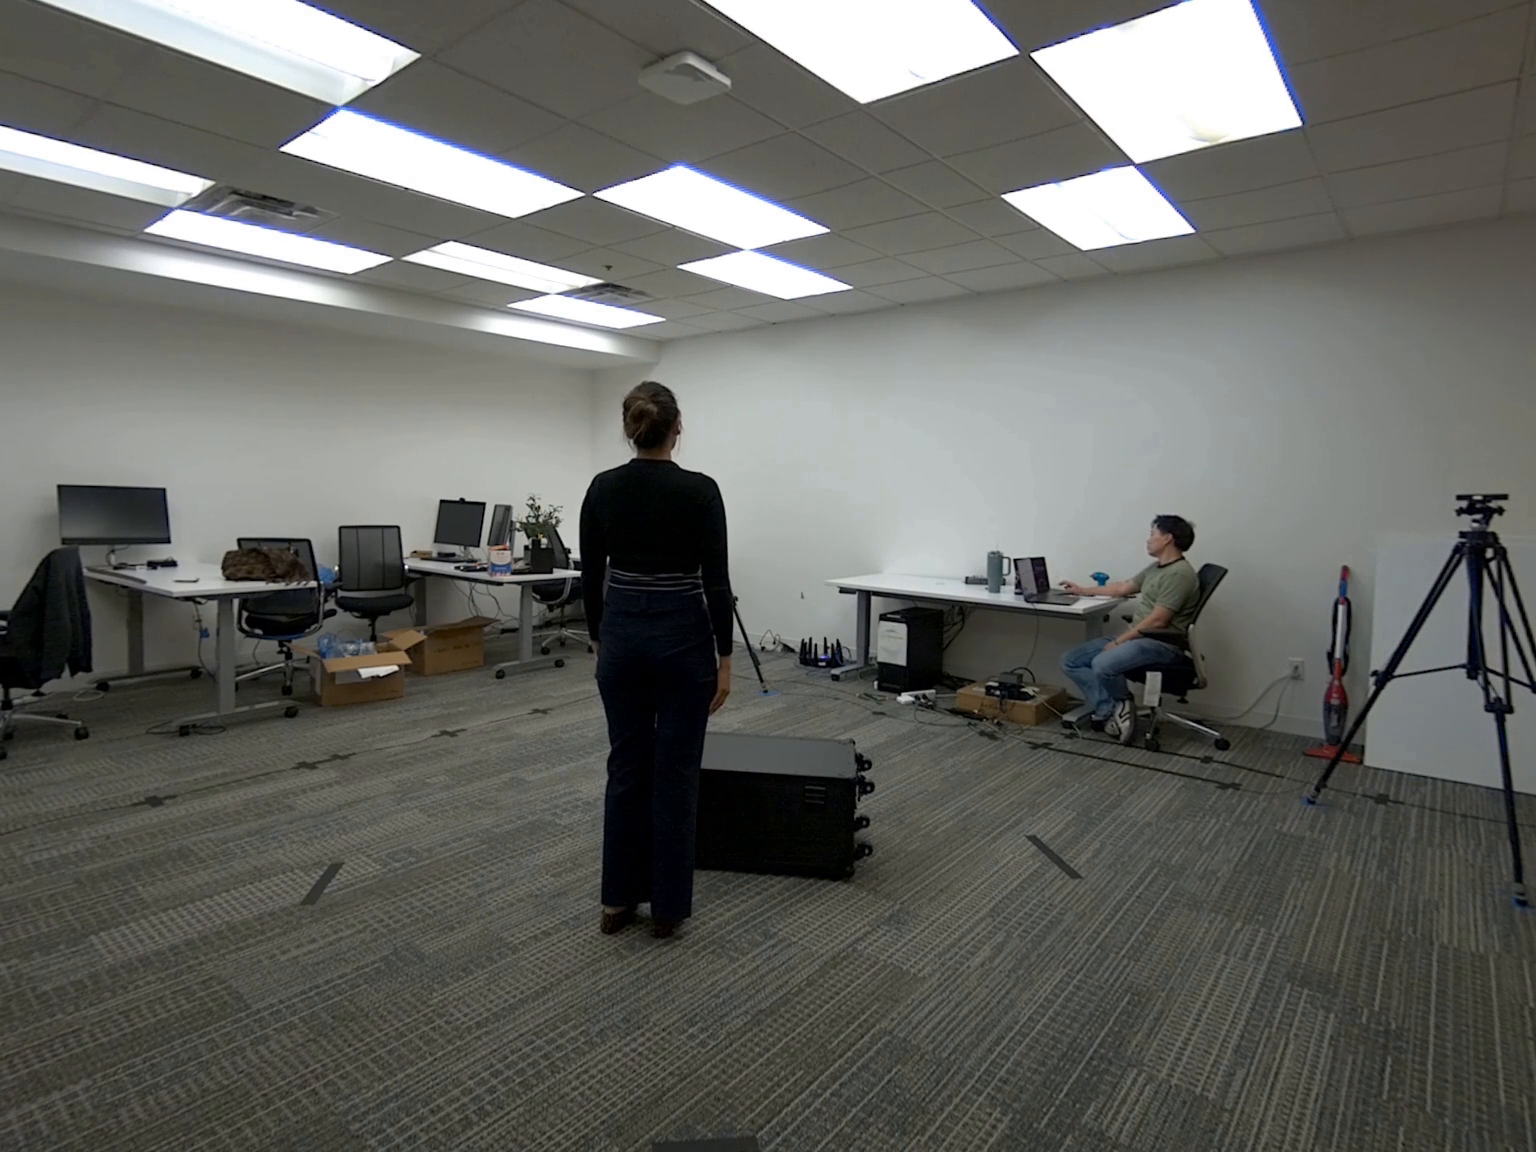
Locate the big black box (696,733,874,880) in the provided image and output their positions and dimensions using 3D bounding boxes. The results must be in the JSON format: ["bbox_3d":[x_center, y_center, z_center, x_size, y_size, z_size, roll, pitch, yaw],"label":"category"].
[{"bbox_3d":[-0.035,0.856,3.278,0.869,0.395,0.519,1,5,8],"label":"big black box"}]
